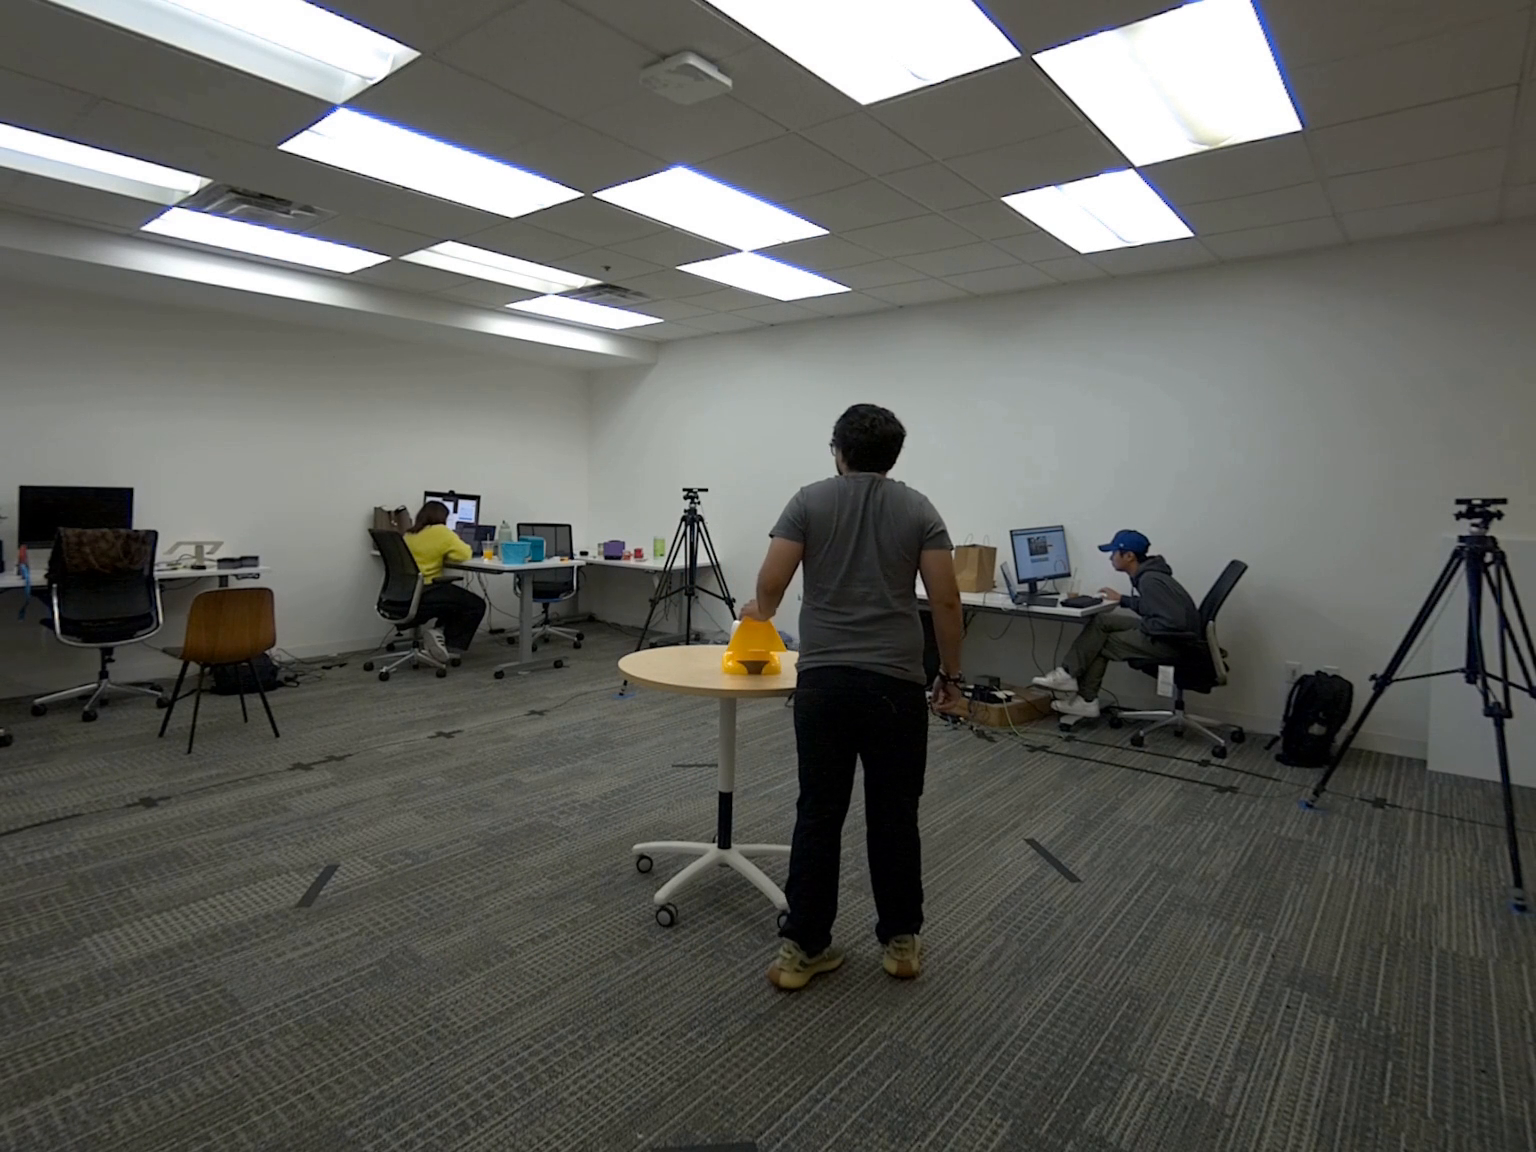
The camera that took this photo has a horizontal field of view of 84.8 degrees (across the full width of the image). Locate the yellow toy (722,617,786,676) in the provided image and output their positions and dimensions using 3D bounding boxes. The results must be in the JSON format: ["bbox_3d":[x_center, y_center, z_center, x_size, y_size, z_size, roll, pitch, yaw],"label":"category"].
[{"bbox_3d":[-0.063,0.199,2.856,0.202,0.230,0.196,0,4,-11],"label":"yellow toy"}]
